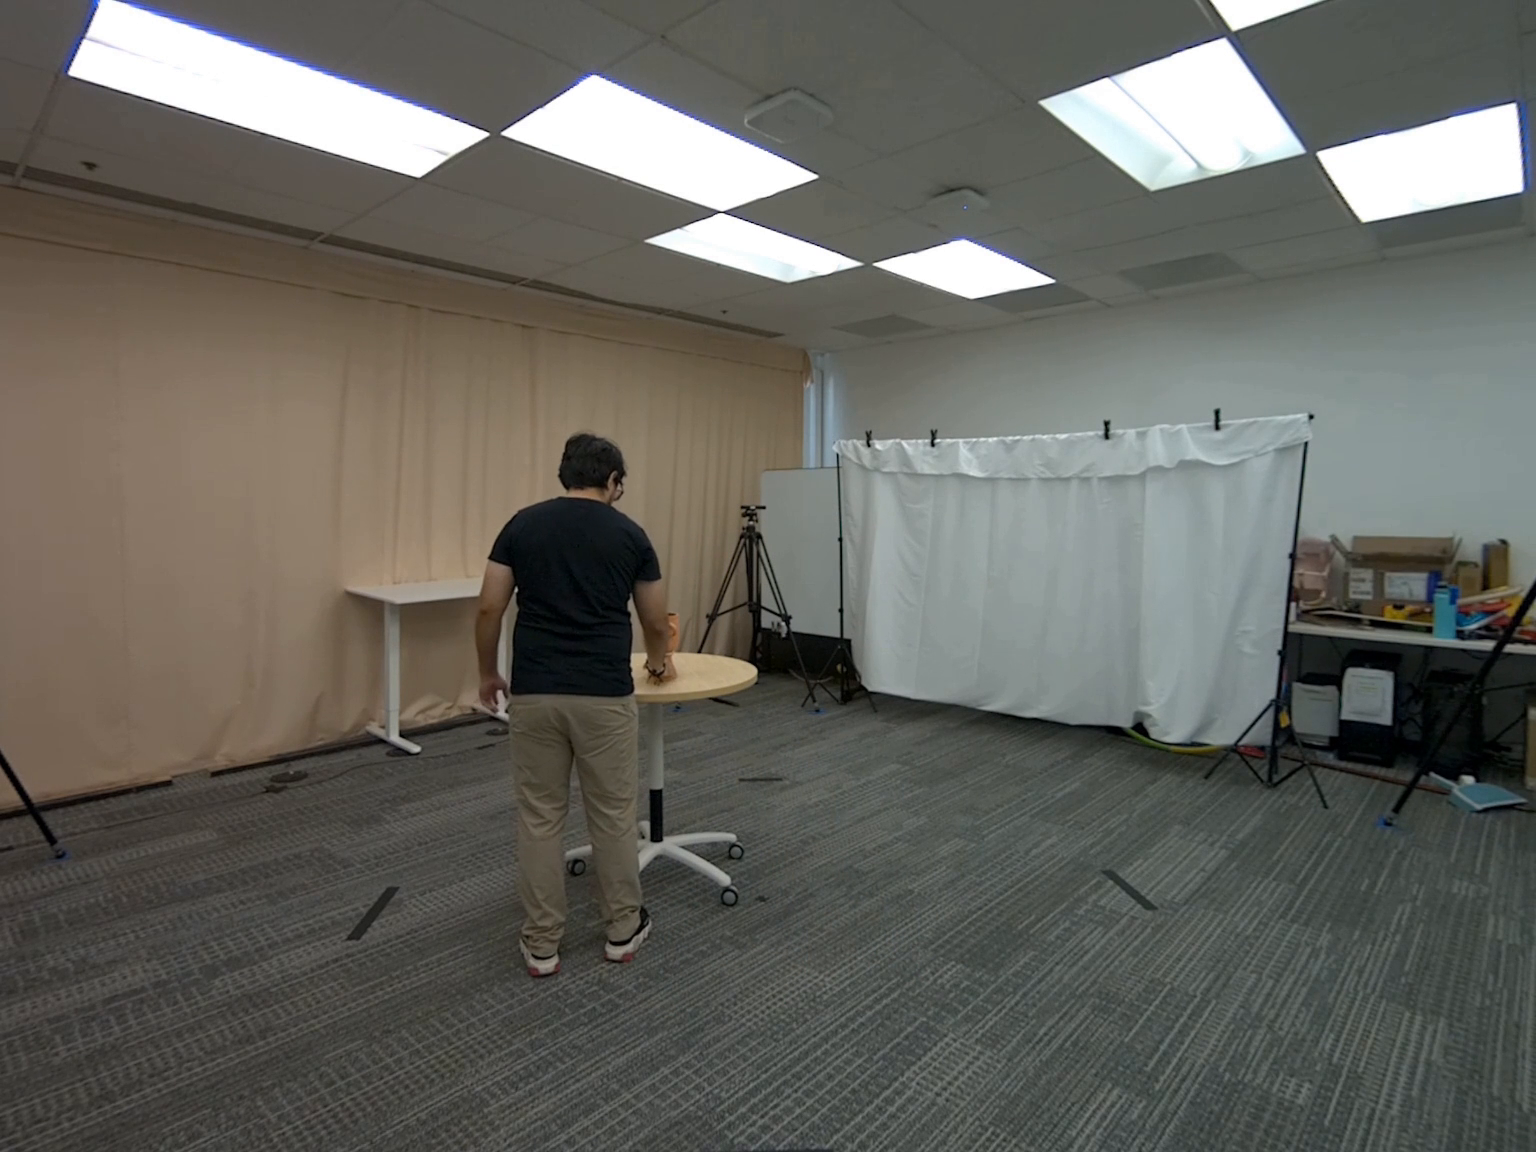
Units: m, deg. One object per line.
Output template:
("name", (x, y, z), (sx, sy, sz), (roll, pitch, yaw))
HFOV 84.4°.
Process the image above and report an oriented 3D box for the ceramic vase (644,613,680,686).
("ceramic vase", (-0.388, 0.252, 3.044), (0.135, 0.219, 0.159), (-1, 3, 0))
